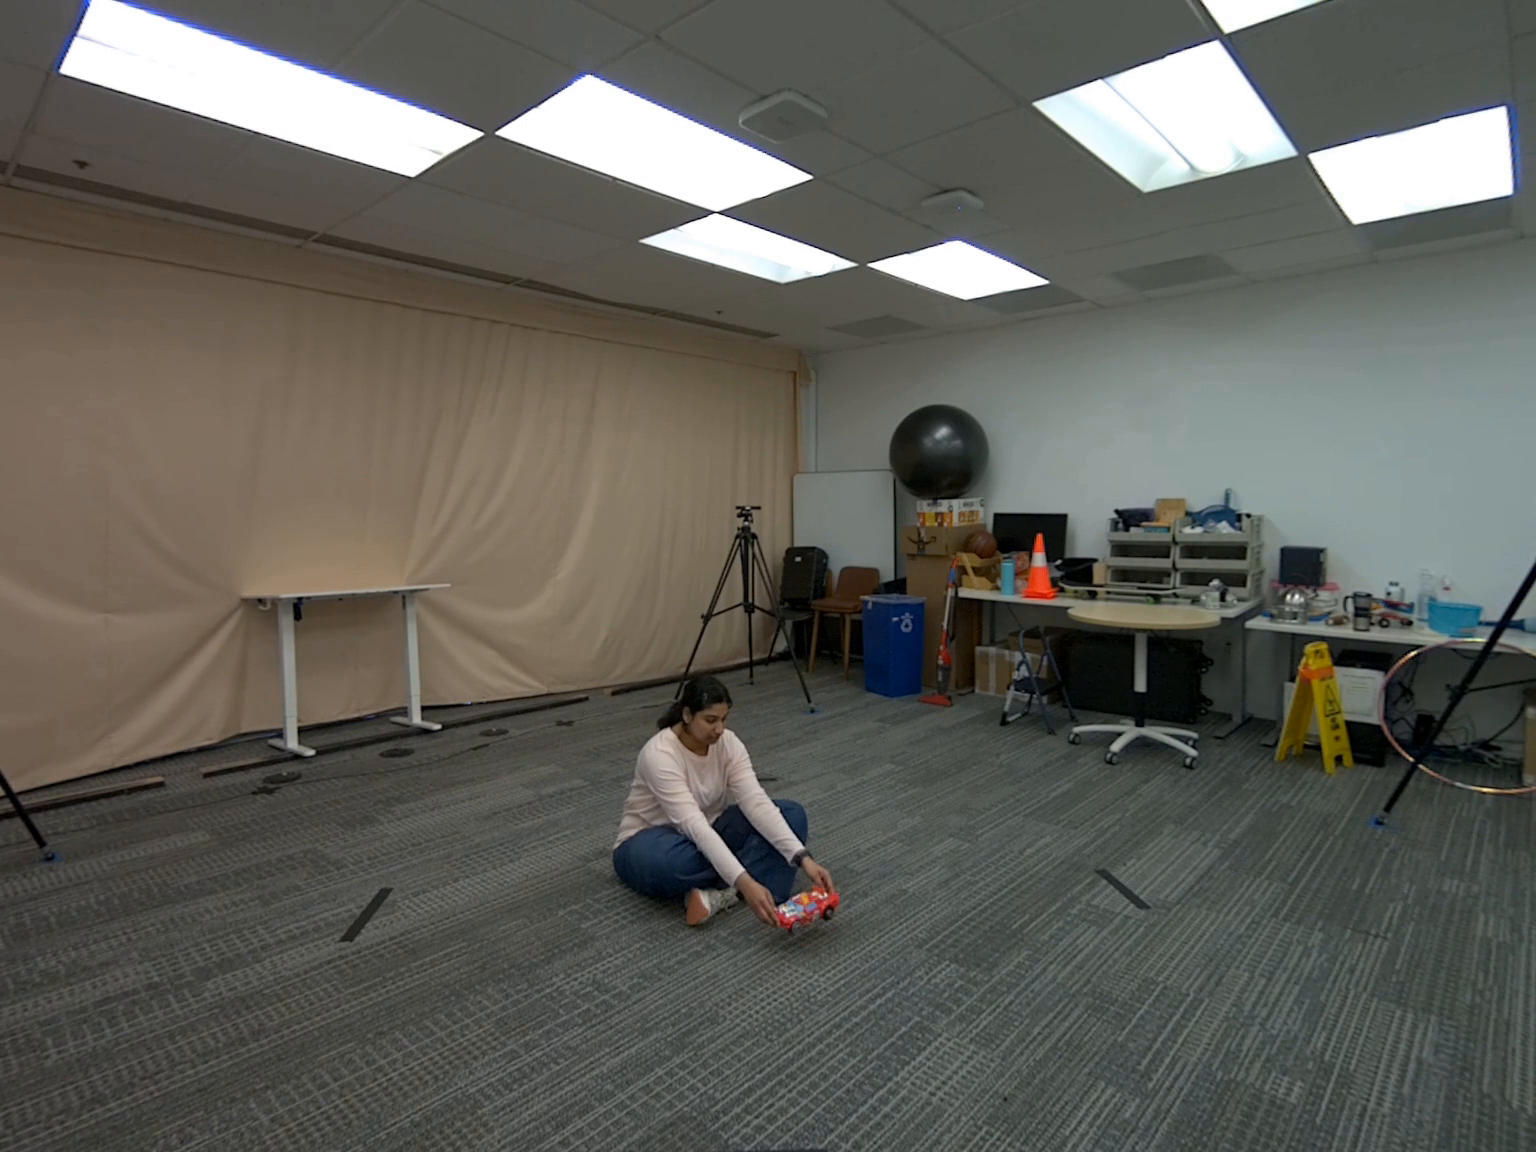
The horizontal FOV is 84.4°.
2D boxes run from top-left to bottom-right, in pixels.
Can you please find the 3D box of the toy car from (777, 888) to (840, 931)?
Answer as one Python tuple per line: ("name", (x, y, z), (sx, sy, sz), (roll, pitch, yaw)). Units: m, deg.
("toy car", (0.126, 1.058, 2.703), (0.248, 0.082, 0.134), (-19, 13, -40))
